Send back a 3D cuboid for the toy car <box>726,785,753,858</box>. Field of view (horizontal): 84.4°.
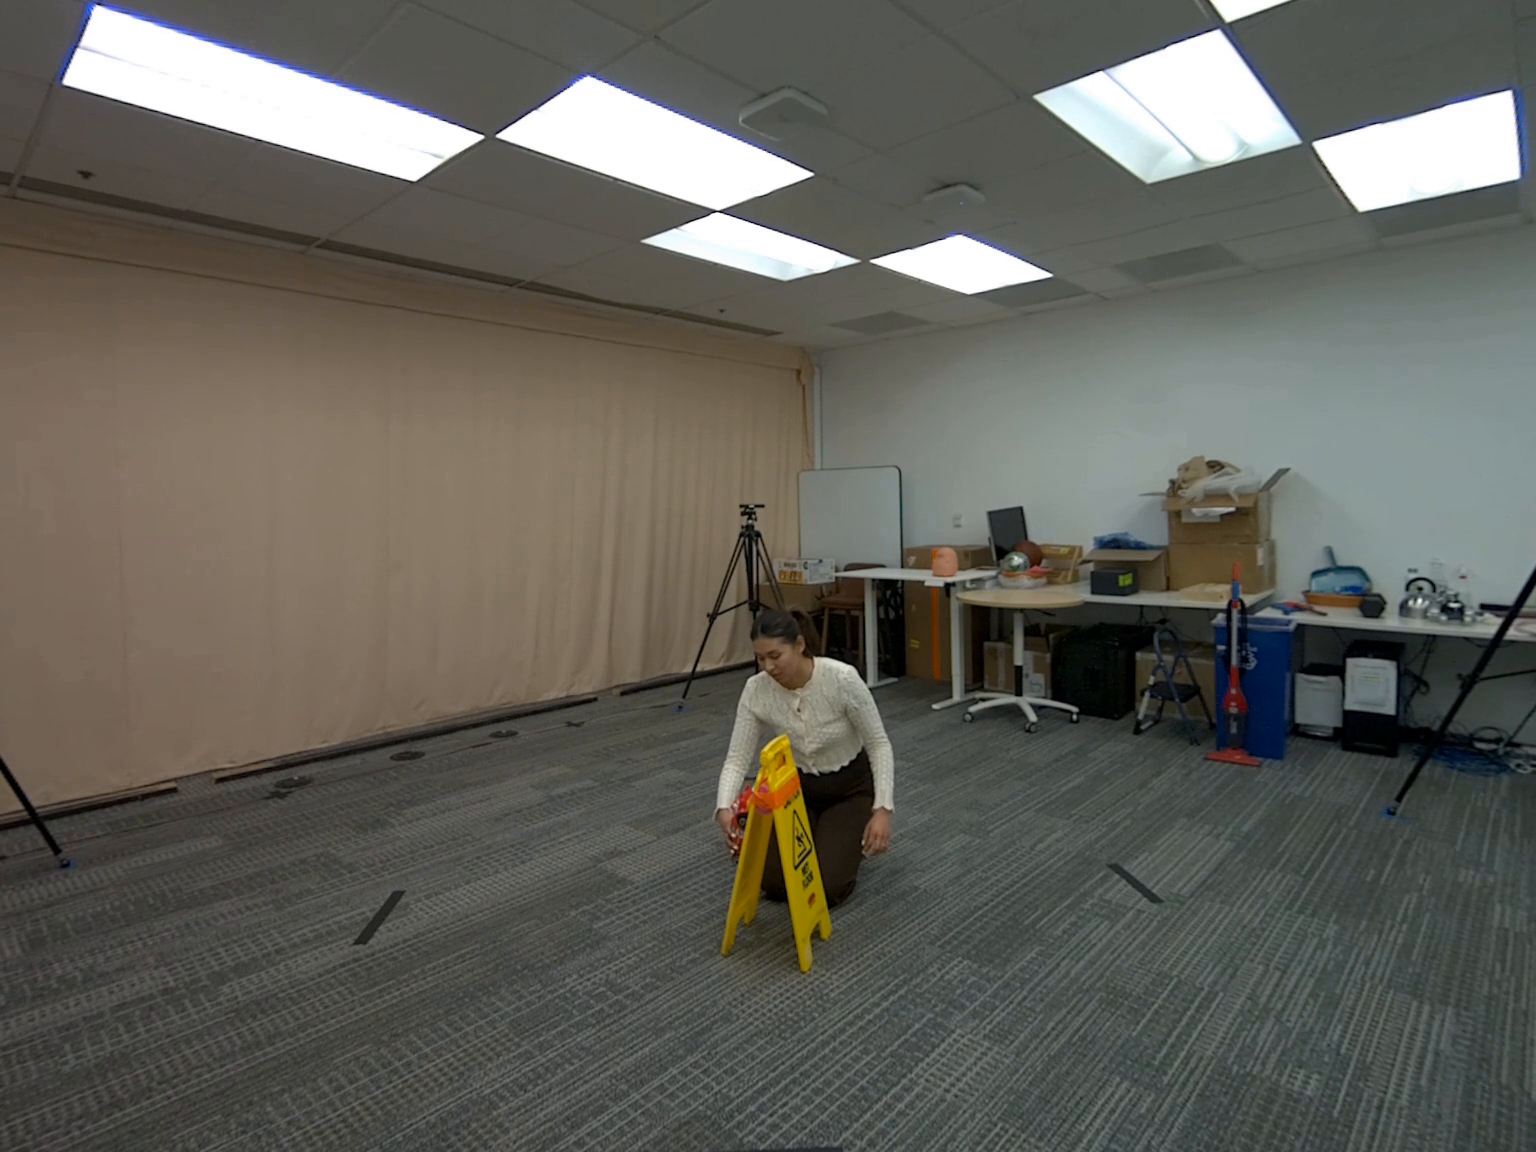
[{"bbox_3d":[-0.073,0.802,2.723,0.085,0.252,0.129,-4,11,17],"label":"toy car"}]
